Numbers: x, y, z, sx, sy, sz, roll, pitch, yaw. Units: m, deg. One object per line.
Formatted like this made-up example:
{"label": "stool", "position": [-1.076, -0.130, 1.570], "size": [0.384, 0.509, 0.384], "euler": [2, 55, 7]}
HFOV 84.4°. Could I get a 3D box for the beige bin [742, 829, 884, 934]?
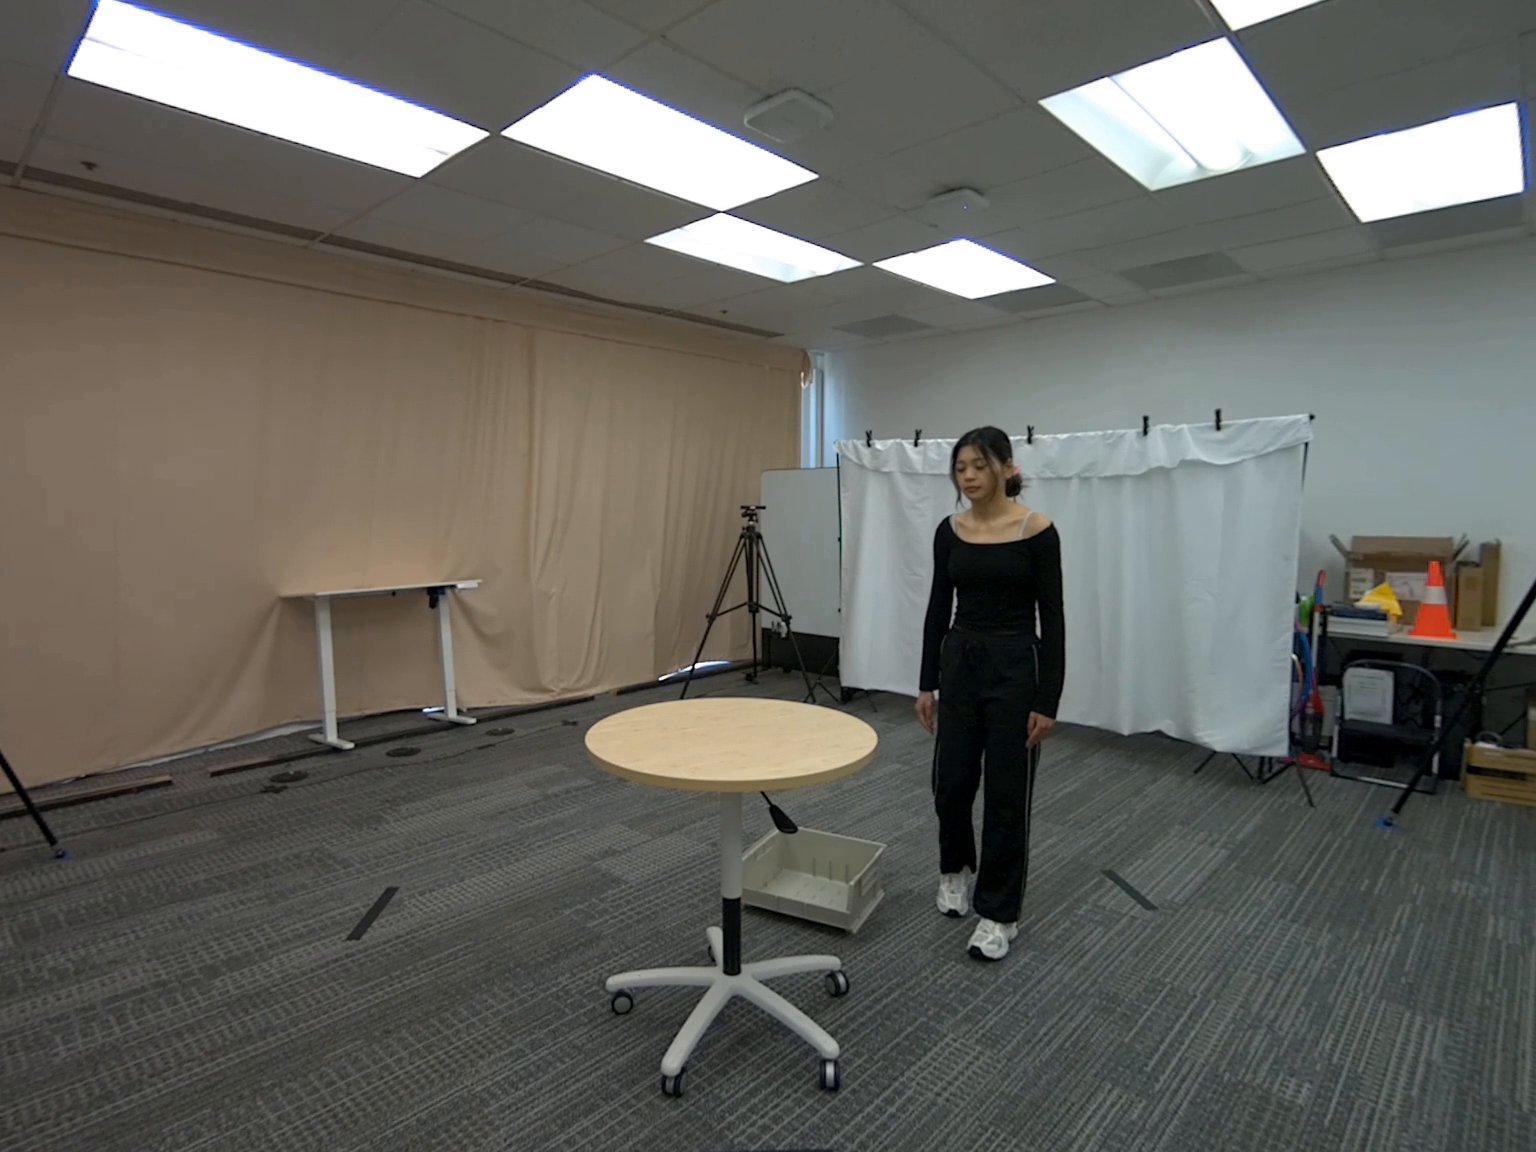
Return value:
{"label": "beige bin", "position": [0.163, 1.055, 2.950], "size": [0.434, 0.188, 0.368], "euler": [2, 4, 28]}
